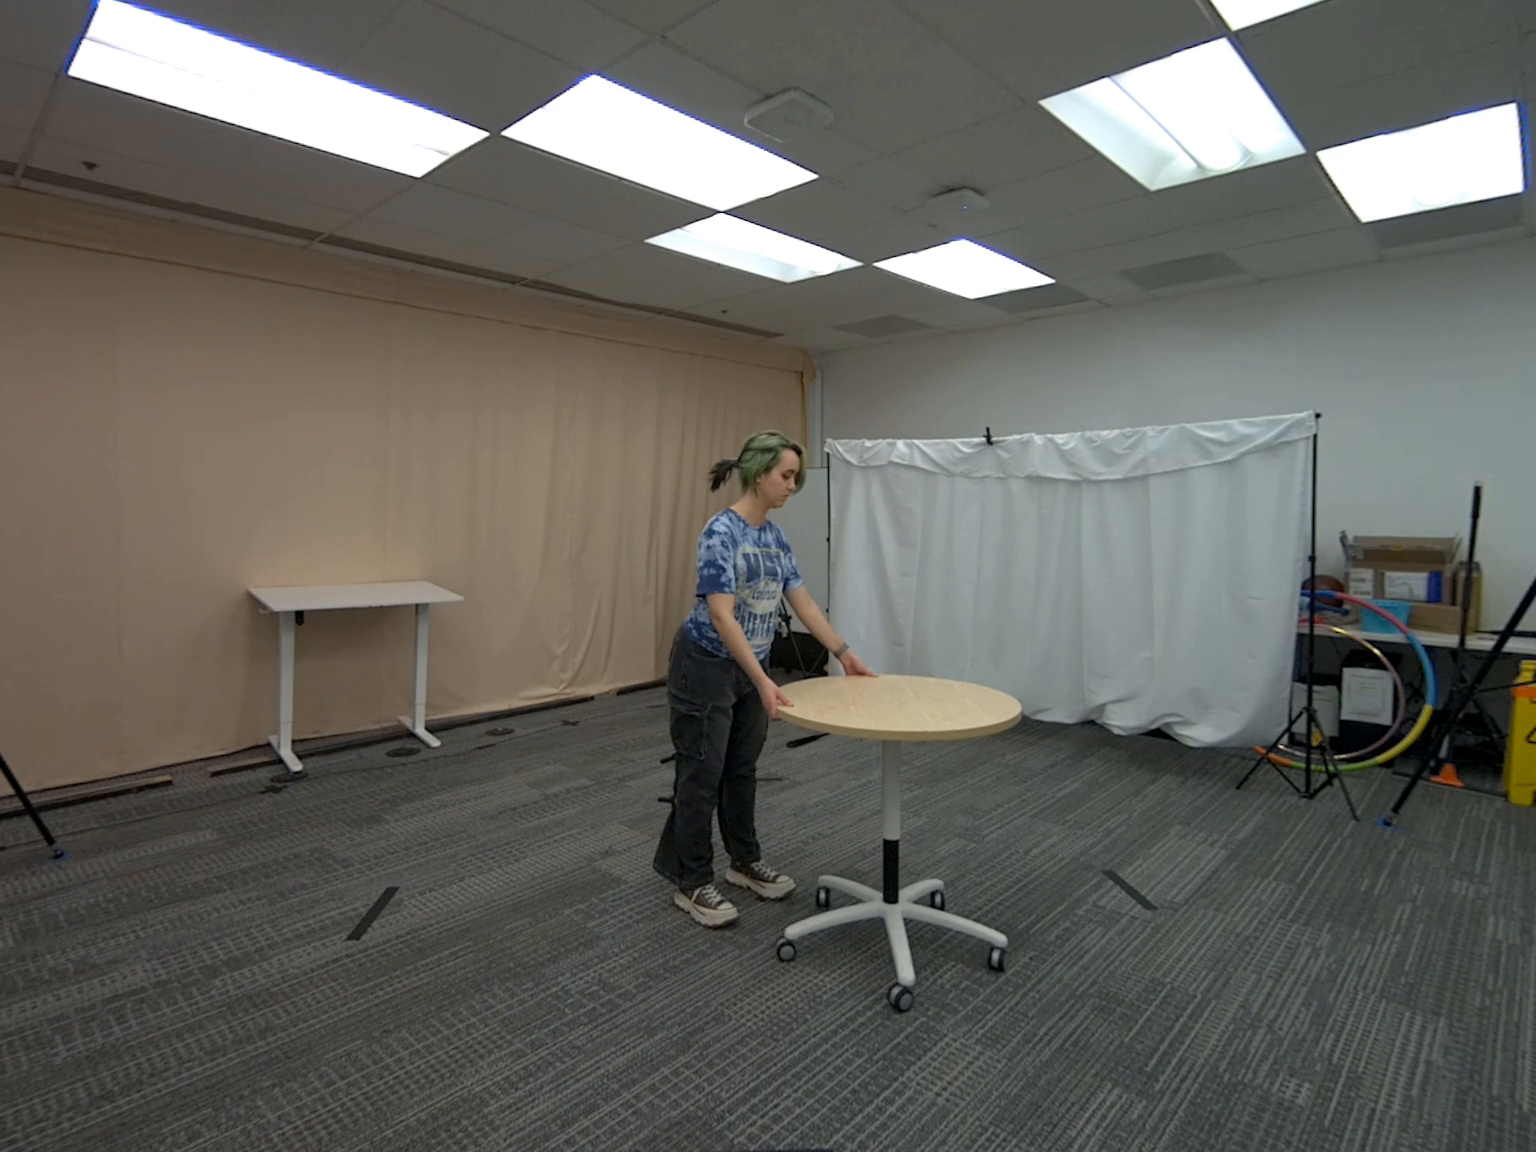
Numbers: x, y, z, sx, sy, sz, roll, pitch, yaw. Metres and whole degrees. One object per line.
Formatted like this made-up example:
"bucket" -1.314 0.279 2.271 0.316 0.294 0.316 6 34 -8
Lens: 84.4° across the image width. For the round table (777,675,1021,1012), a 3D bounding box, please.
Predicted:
"round table" 0.384 0.780 2.652 0.763 0.792 0.767 0 4 -2
